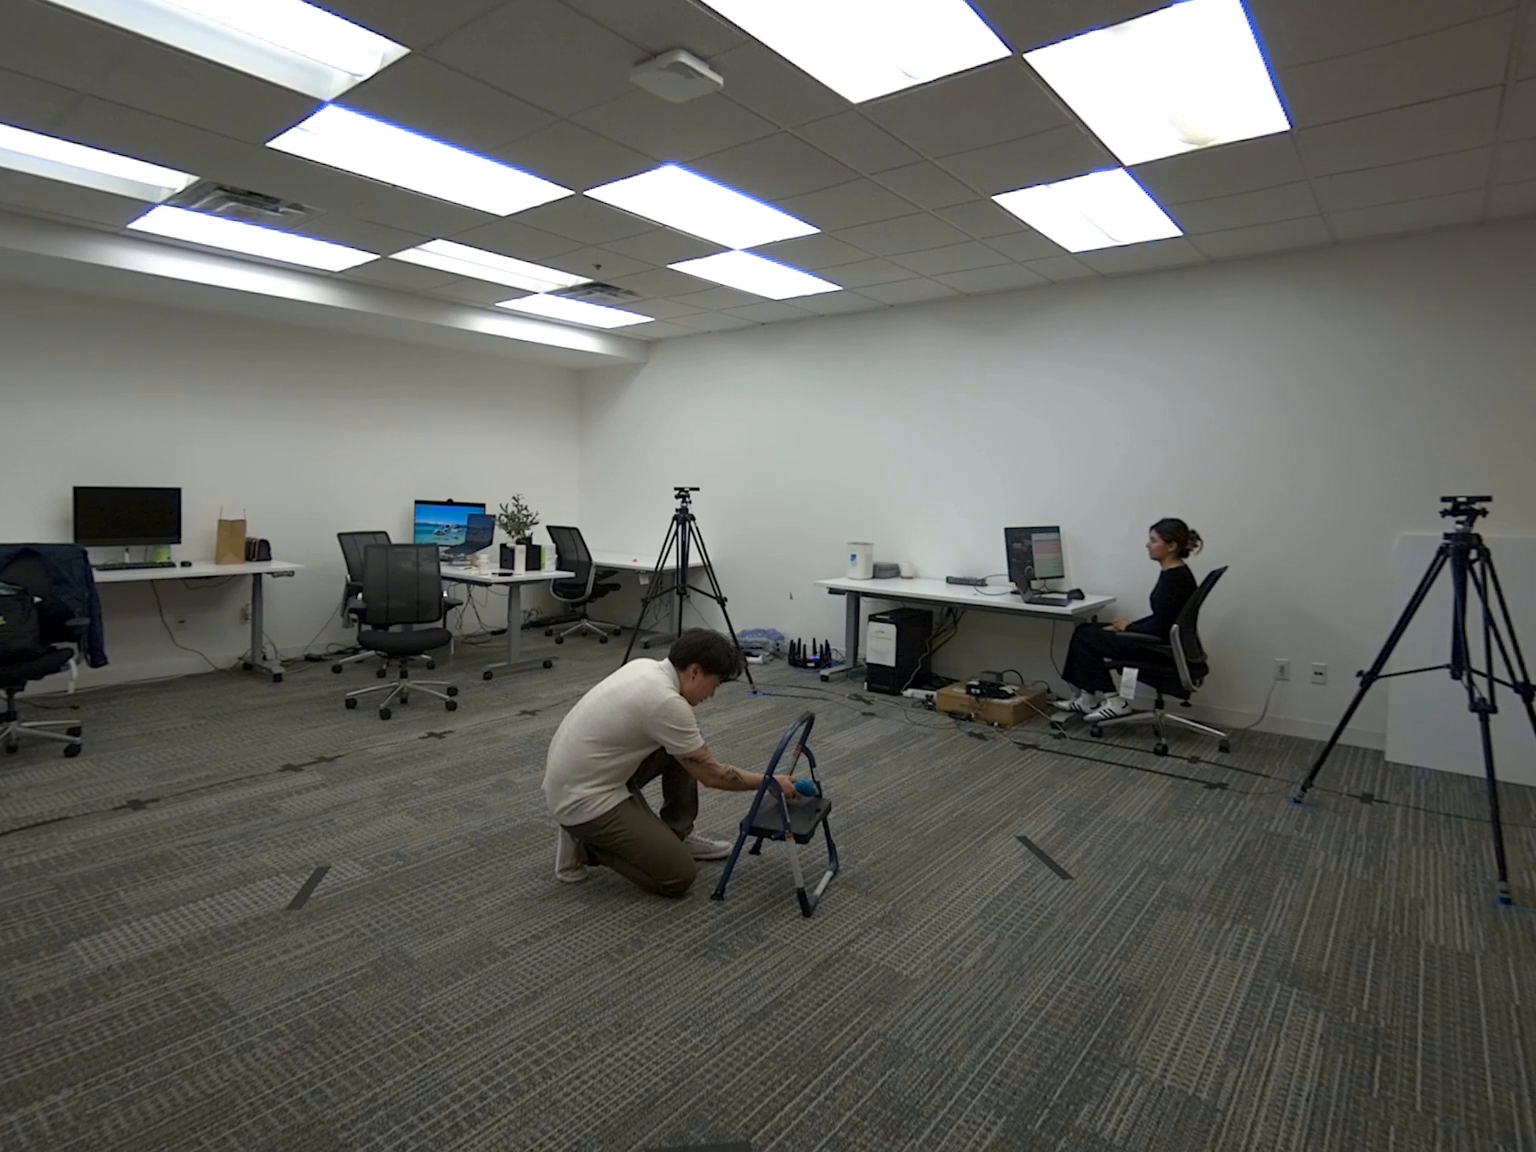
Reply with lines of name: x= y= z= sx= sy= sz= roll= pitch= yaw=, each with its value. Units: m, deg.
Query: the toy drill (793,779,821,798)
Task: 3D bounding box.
toy drill: x=0.103 y=0.779 z=3.096 sx=0.149 sy=0.062 sz=0.162 roll=-11 pitch=-33 yaw=31
